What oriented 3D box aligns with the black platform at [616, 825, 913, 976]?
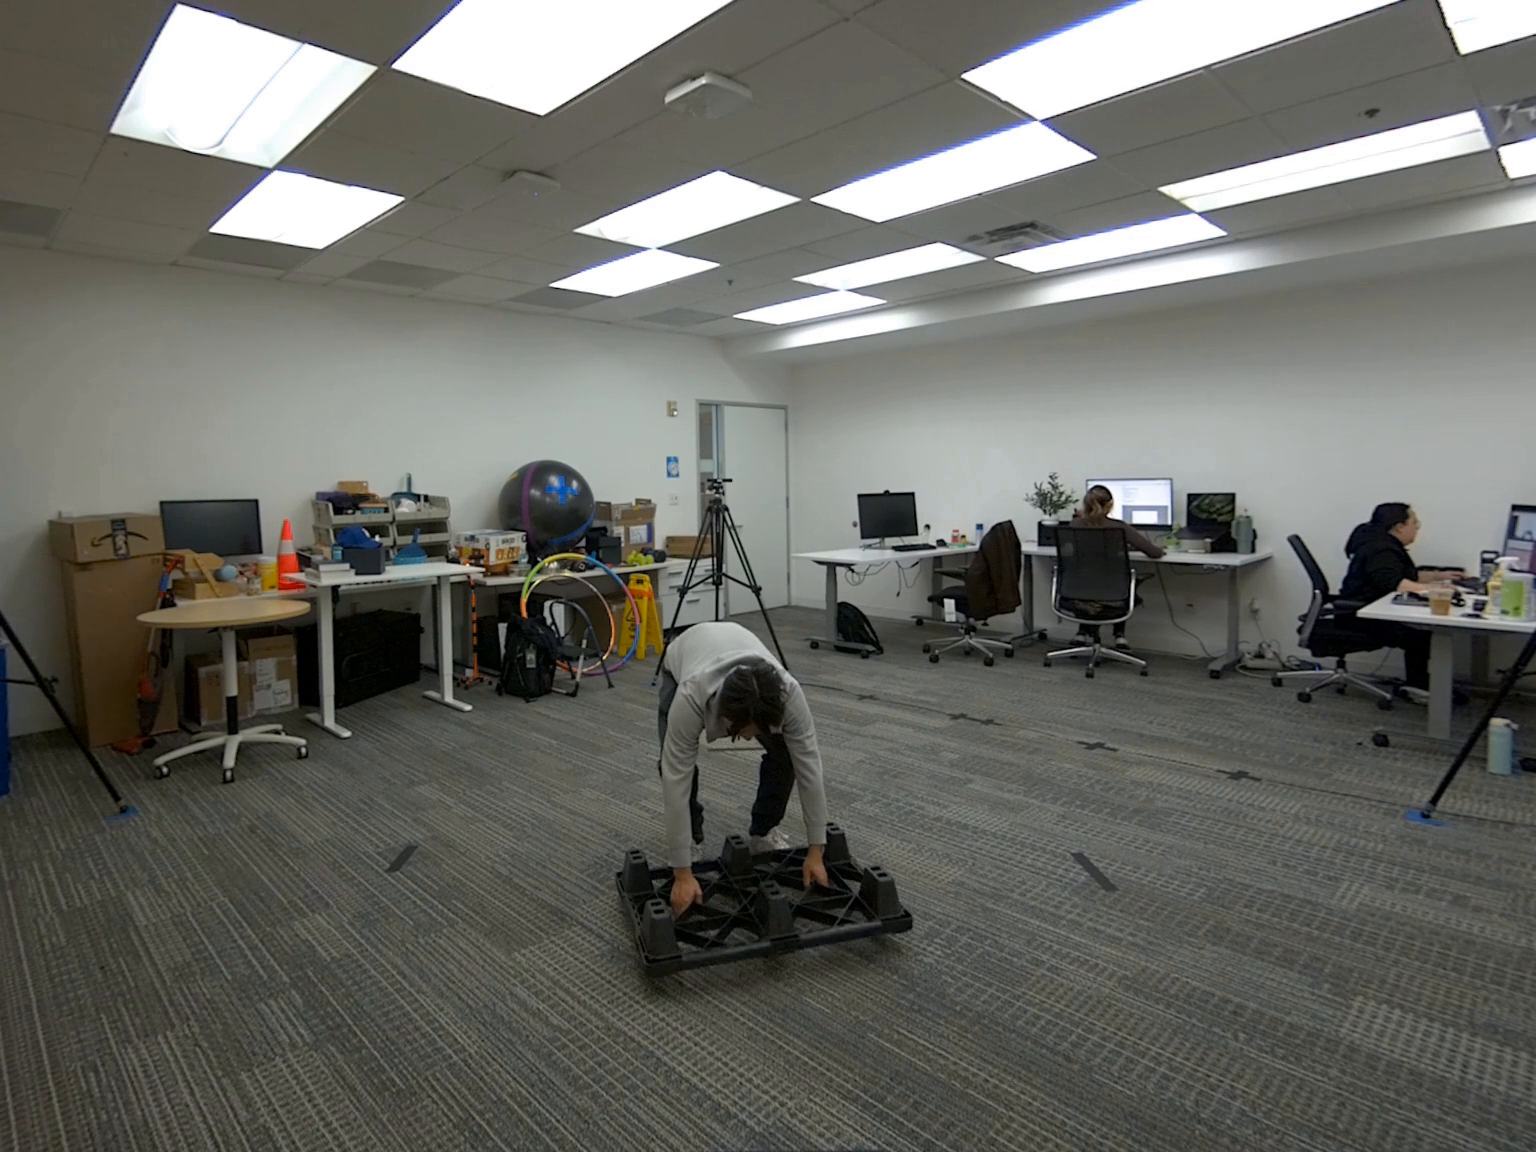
[{"bbox_3d":[-0.034,0.965,2.677,0.794,0.143,0.616,-3,6,-16],"label":"black platform"}]
